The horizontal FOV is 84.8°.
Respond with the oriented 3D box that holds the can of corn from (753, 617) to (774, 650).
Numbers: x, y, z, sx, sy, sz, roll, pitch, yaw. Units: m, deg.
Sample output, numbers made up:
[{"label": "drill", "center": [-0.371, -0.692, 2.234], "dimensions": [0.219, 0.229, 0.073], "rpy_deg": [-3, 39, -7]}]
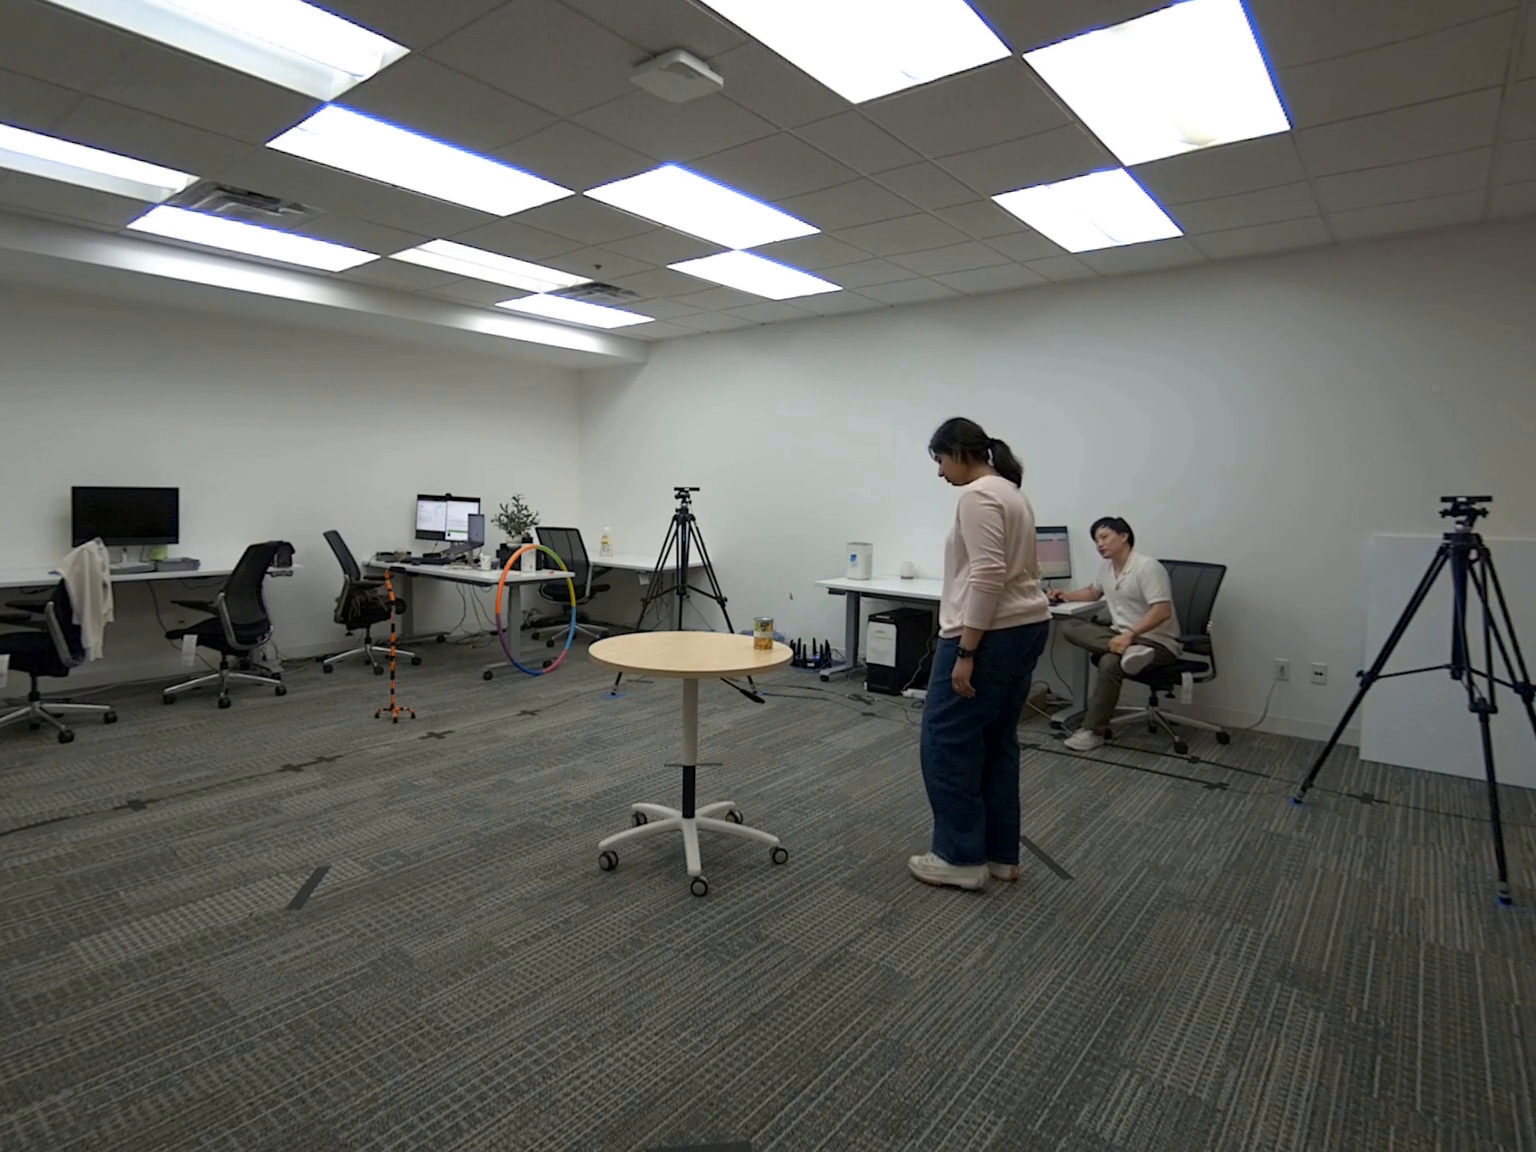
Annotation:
[{"label": "can of corn", "center": [-0.030, 0.215, 3.255], "dimensions": [0.074, 0.110, 0.075], "rpy_deg": [1, 6, -2]}]
